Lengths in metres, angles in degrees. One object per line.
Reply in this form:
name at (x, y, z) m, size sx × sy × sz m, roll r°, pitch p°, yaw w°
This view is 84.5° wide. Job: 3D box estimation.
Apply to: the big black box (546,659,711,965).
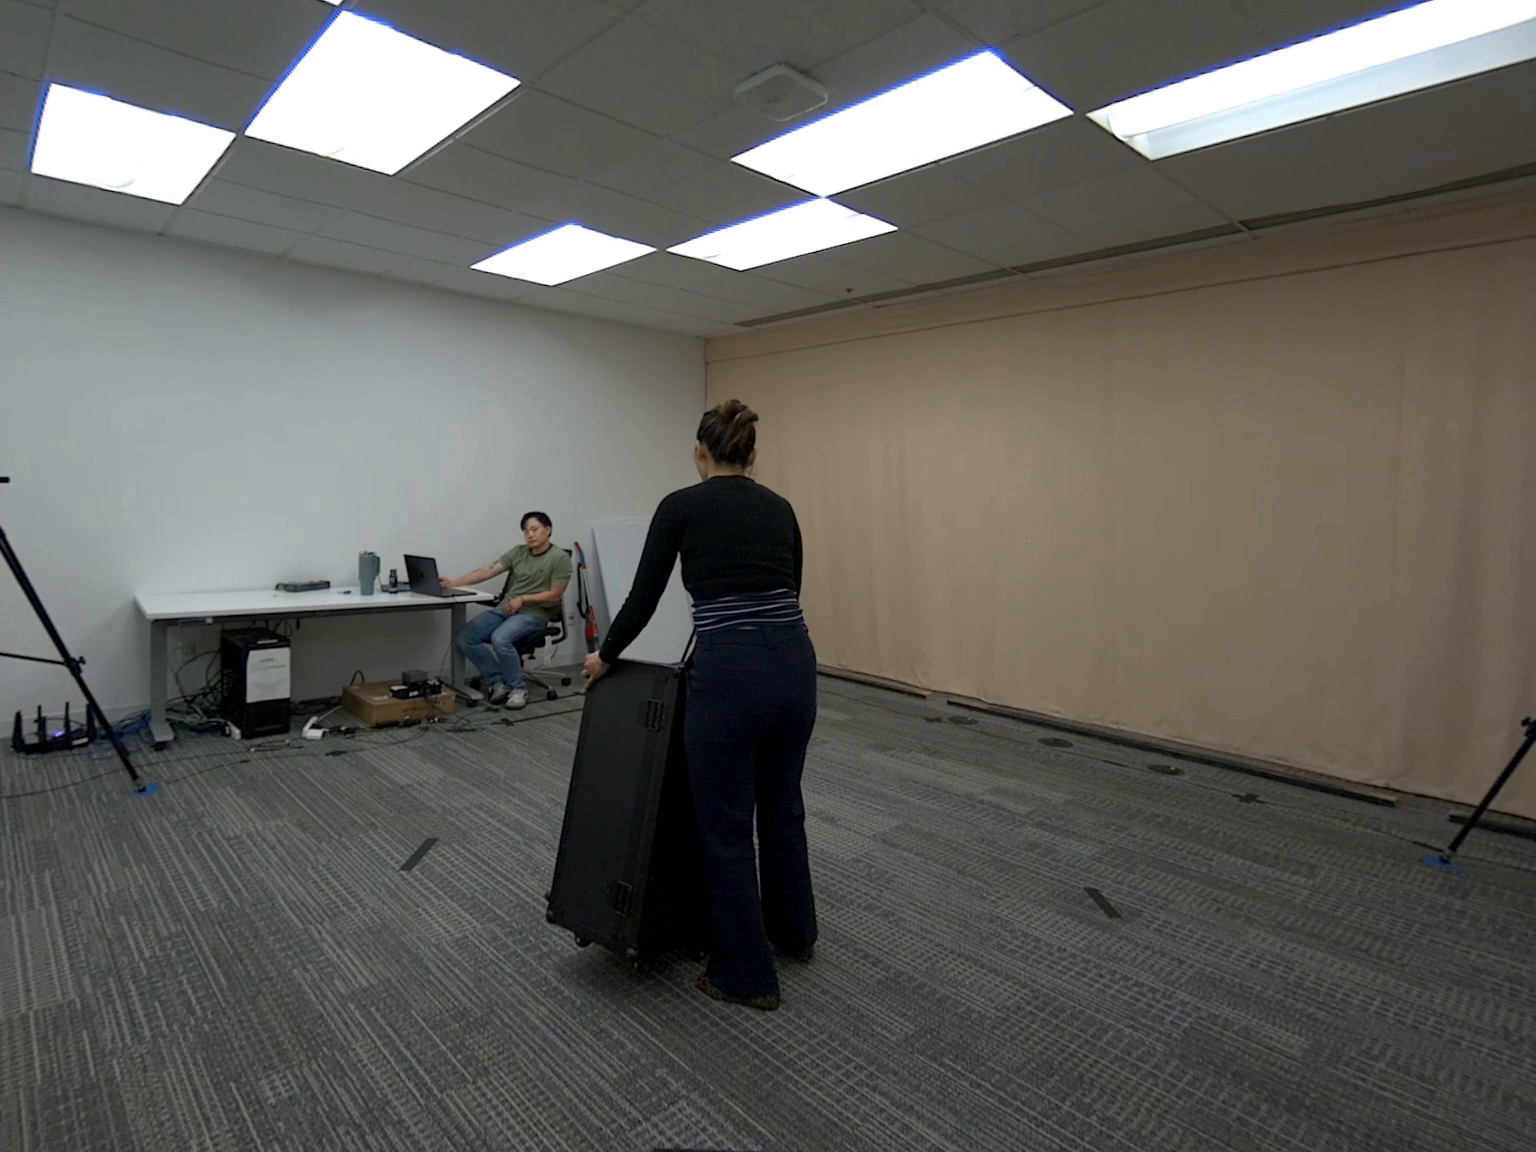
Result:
big black box at (-0.333, 0.705, 2.580) m, size 0.405 × 0.866 × 0.506 m, roll 2°, pitch -11°, yaw 36°
